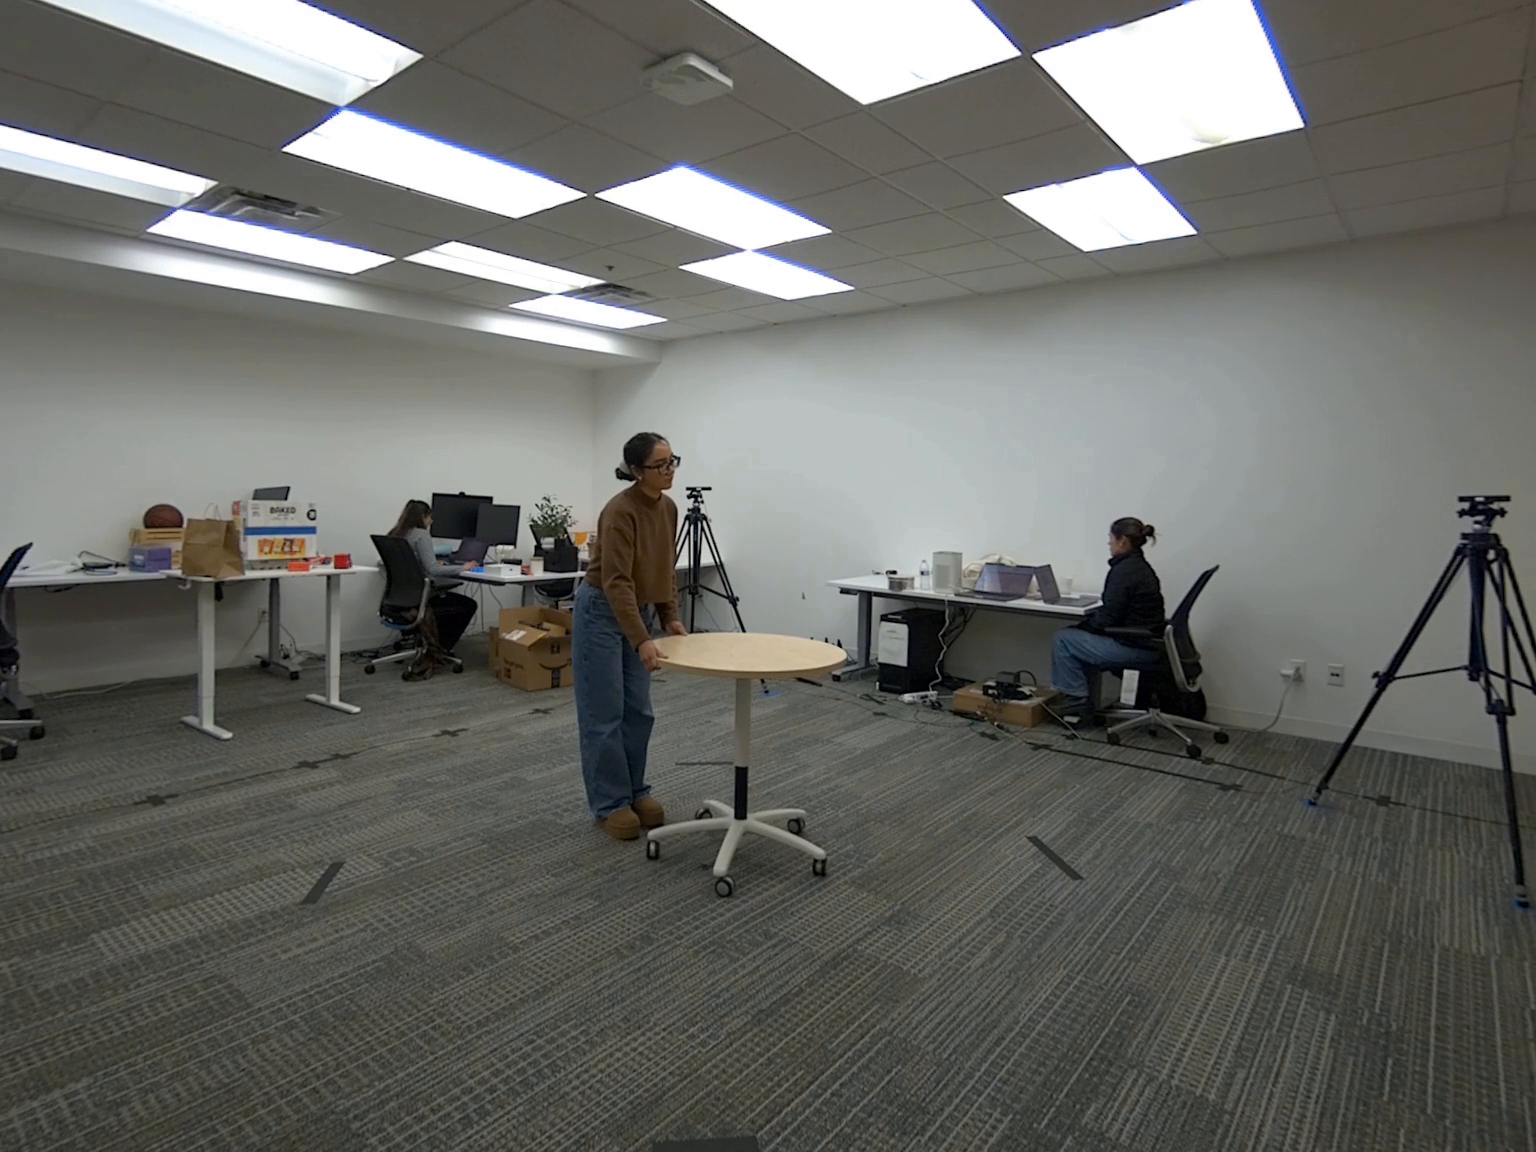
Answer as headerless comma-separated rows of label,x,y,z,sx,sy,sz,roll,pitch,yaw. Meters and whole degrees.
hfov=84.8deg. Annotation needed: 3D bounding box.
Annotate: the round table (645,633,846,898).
round table,-0.113,0.667,3.208,0.763,0.791,0.768,1,4,-2
